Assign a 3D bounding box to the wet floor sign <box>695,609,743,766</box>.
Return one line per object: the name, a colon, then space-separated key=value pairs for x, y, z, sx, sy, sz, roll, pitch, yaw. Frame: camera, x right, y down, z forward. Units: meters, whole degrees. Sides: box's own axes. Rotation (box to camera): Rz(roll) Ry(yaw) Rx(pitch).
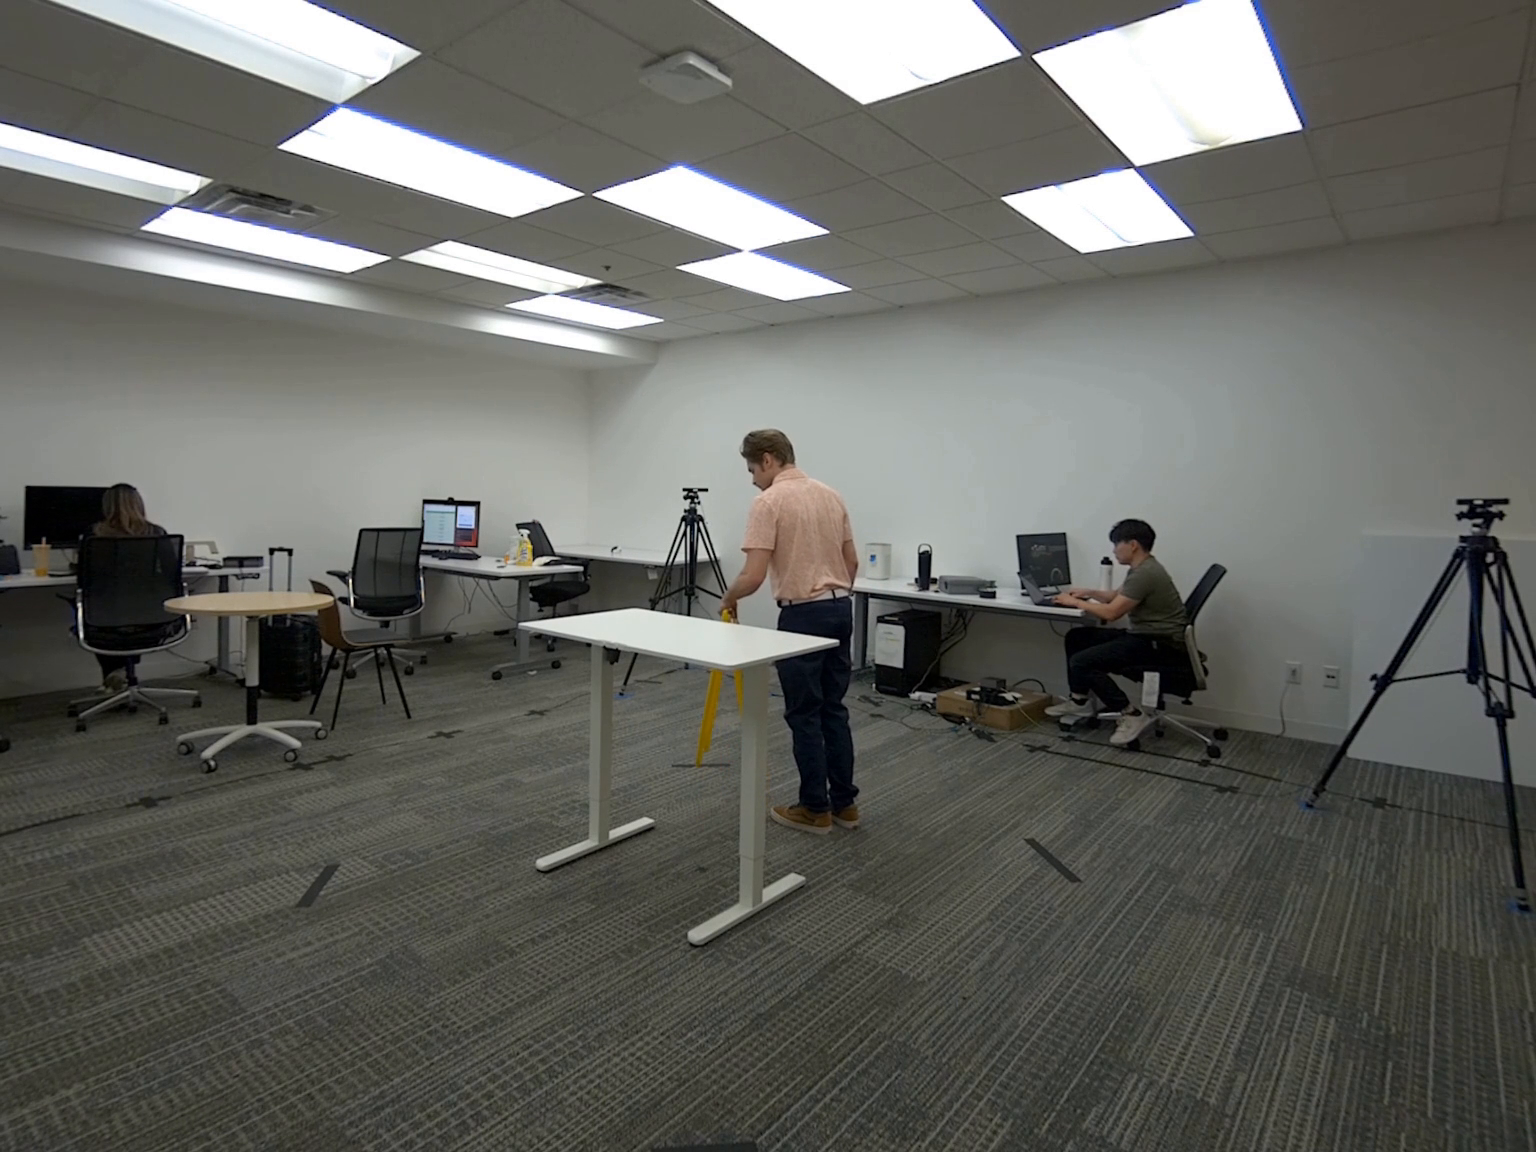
wet floor sign: x=-0.167 y=0.467 z=3.635 sx=0.292 sy=0.644 sz=0.281 roll=0 pitch=4 yaw=7
